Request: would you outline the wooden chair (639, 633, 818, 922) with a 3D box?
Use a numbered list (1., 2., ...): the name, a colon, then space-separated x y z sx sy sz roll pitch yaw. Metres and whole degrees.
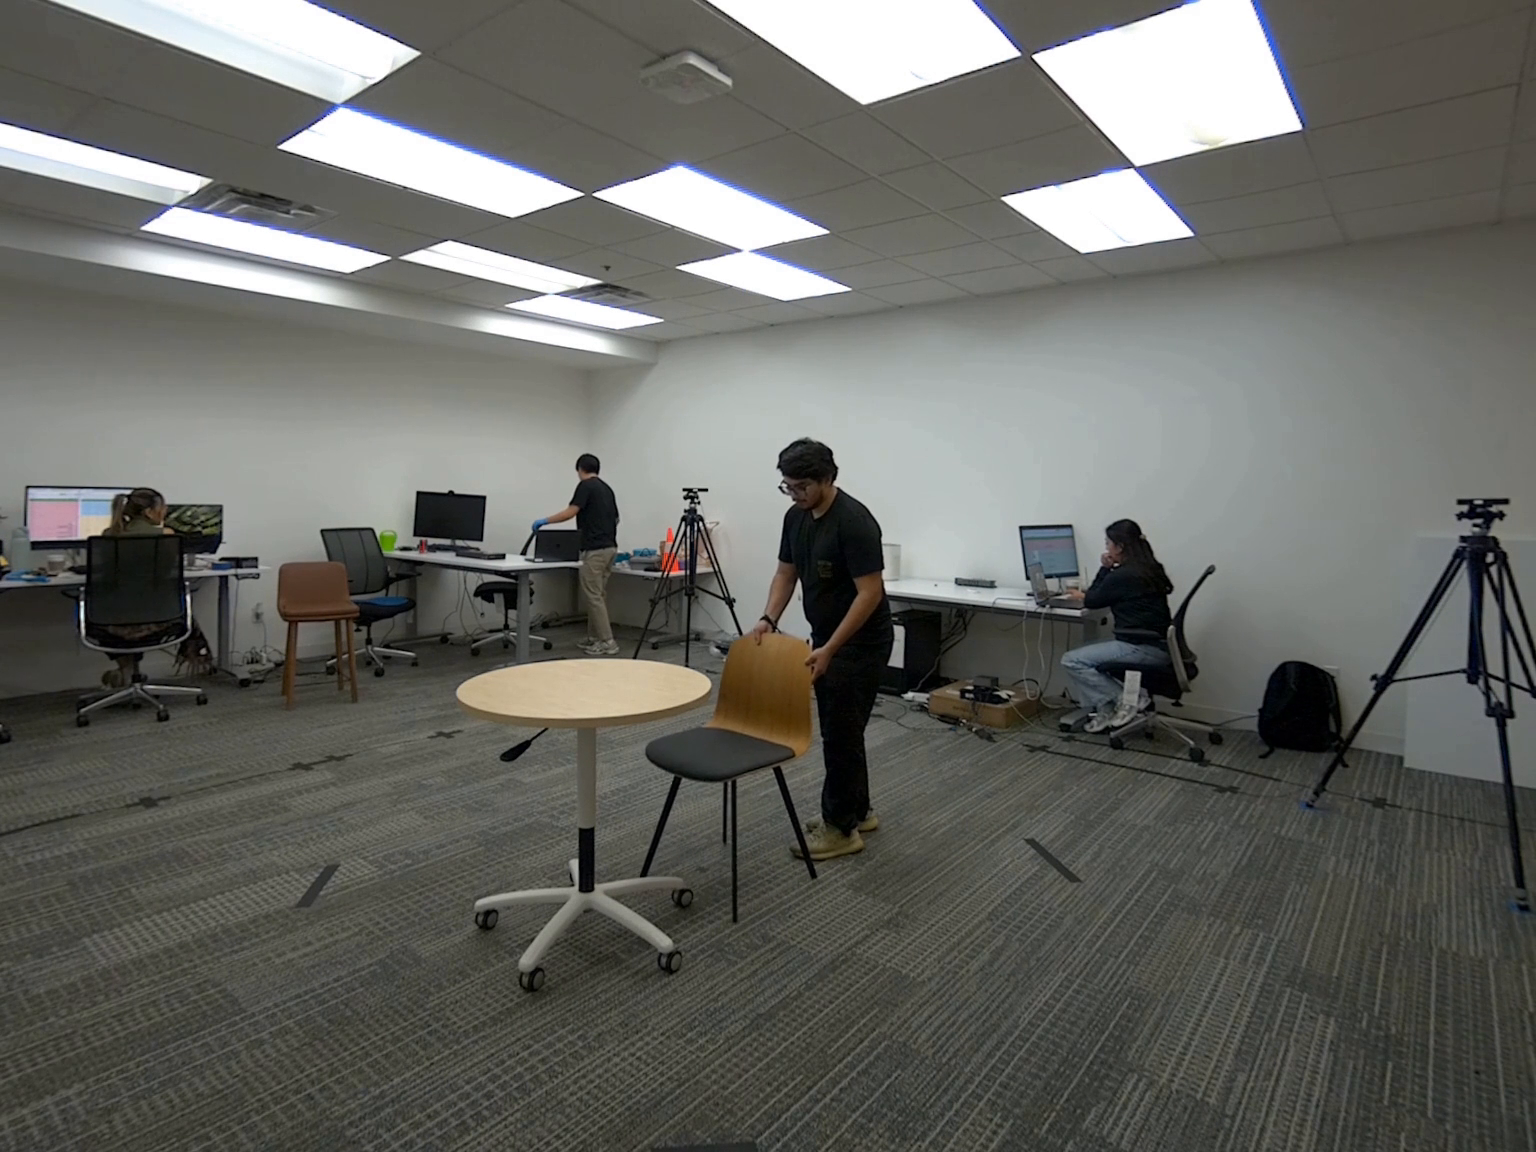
1. wooden chair: -0.142 0.651 3.008 0.494 0.878 0.506 4 0 40
